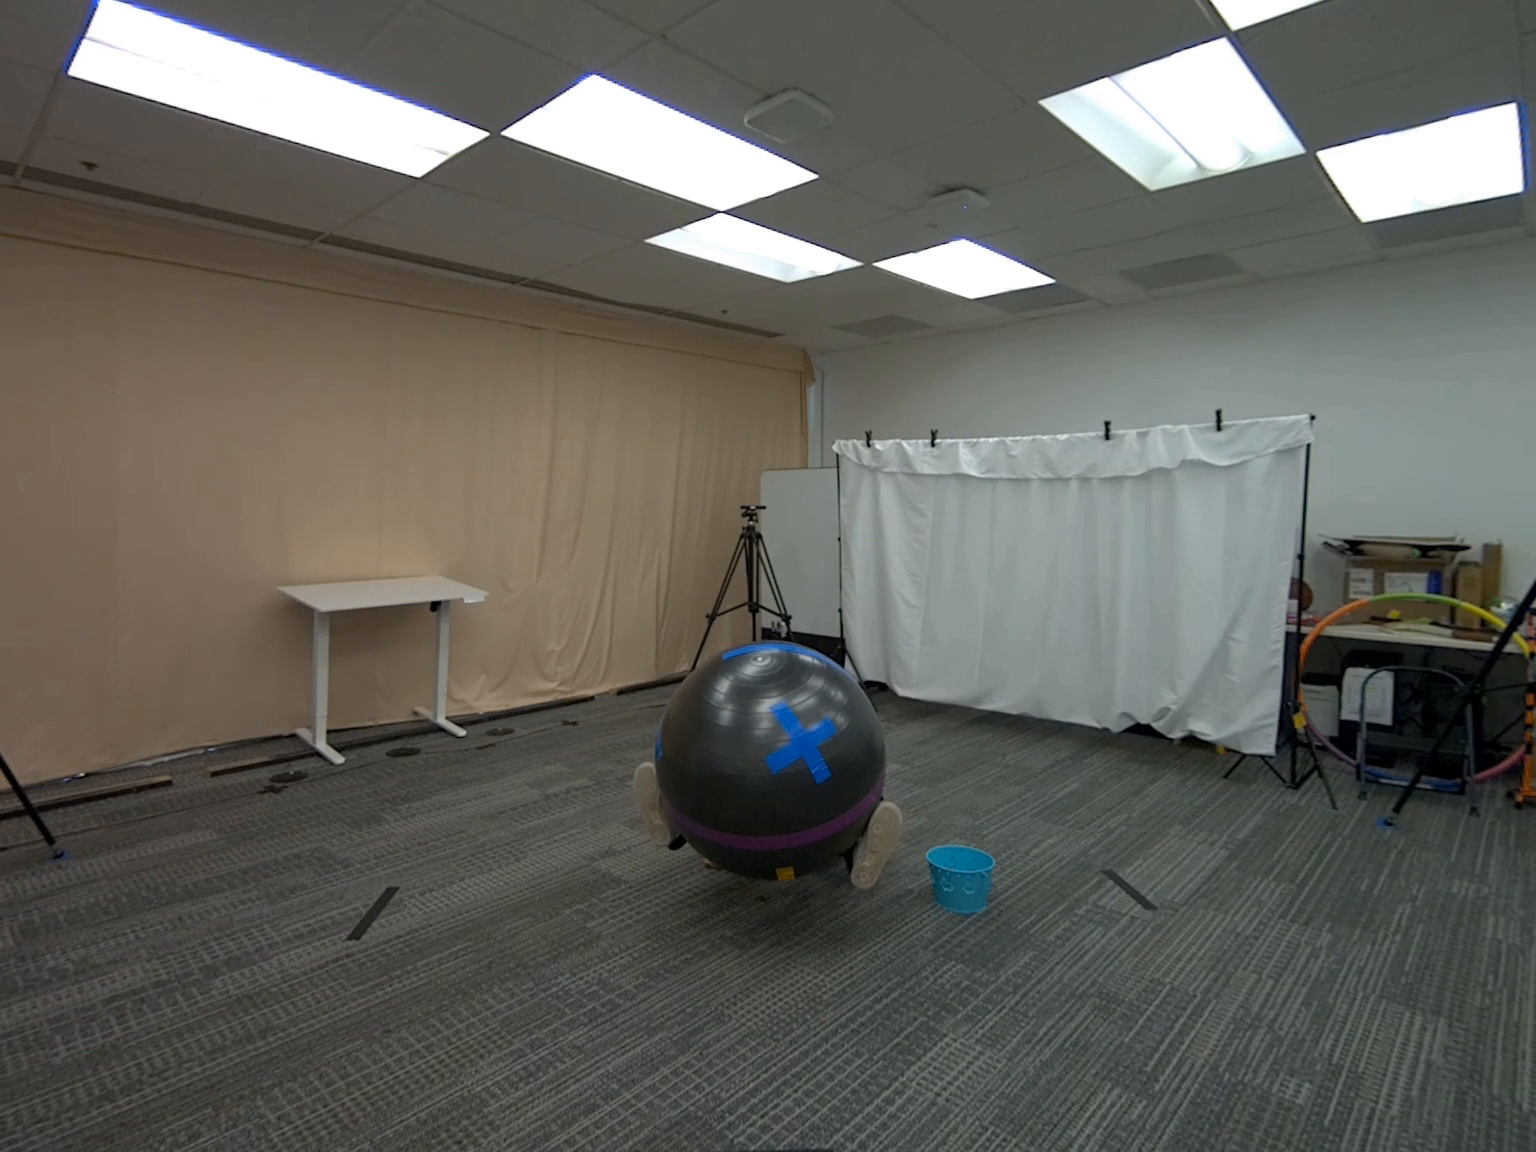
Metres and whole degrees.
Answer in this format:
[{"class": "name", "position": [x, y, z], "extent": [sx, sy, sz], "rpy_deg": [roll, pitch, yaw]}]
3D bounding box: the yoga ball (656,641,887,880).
[{"class": "yoga ball", "position": [0.009, 0.600, 2.782], "extent": [0.757, 0.756, 0.760], "rpy_deg": [0, 4, -2]}]
